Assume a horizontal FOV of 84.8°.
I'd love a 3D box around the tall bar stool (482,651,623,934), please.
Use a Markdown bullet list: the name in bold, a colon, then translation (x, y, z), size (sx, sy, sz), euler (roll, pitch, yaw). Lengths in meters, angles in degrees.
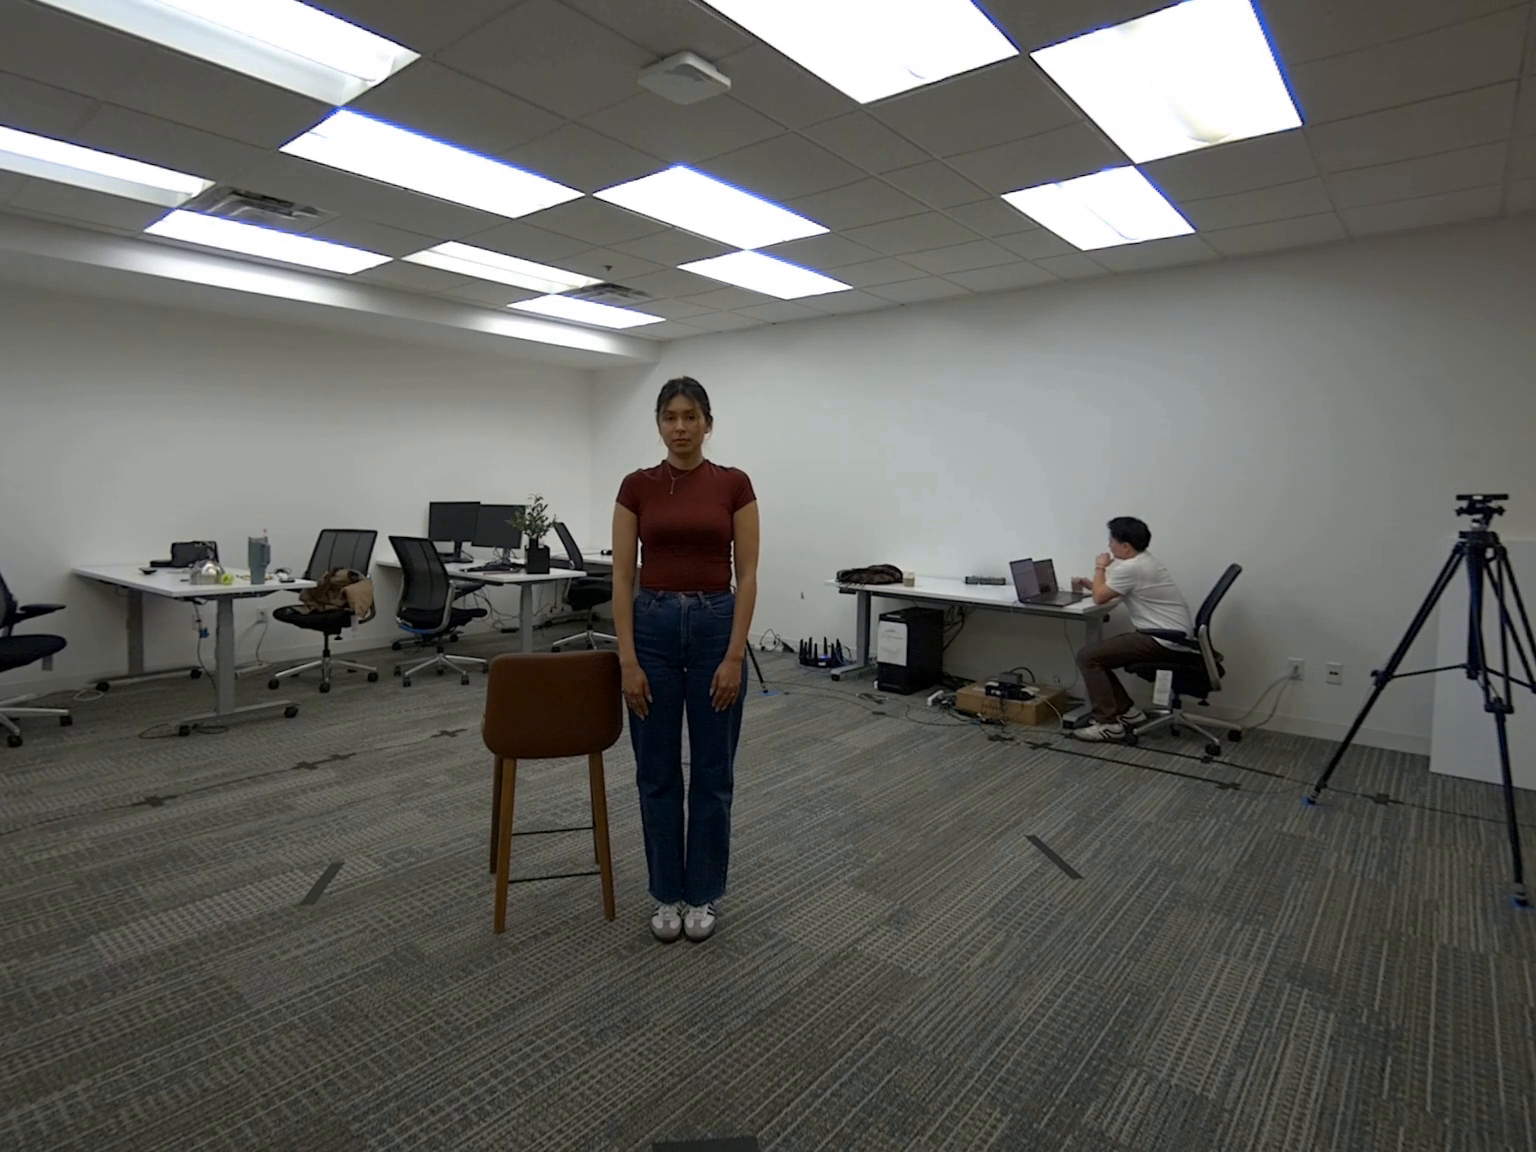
- **tall bar stool**: translation (-0.743, 0.649, 2.862), size (0.449, 0.885, 0.478), euler (-1, 6, -17)
